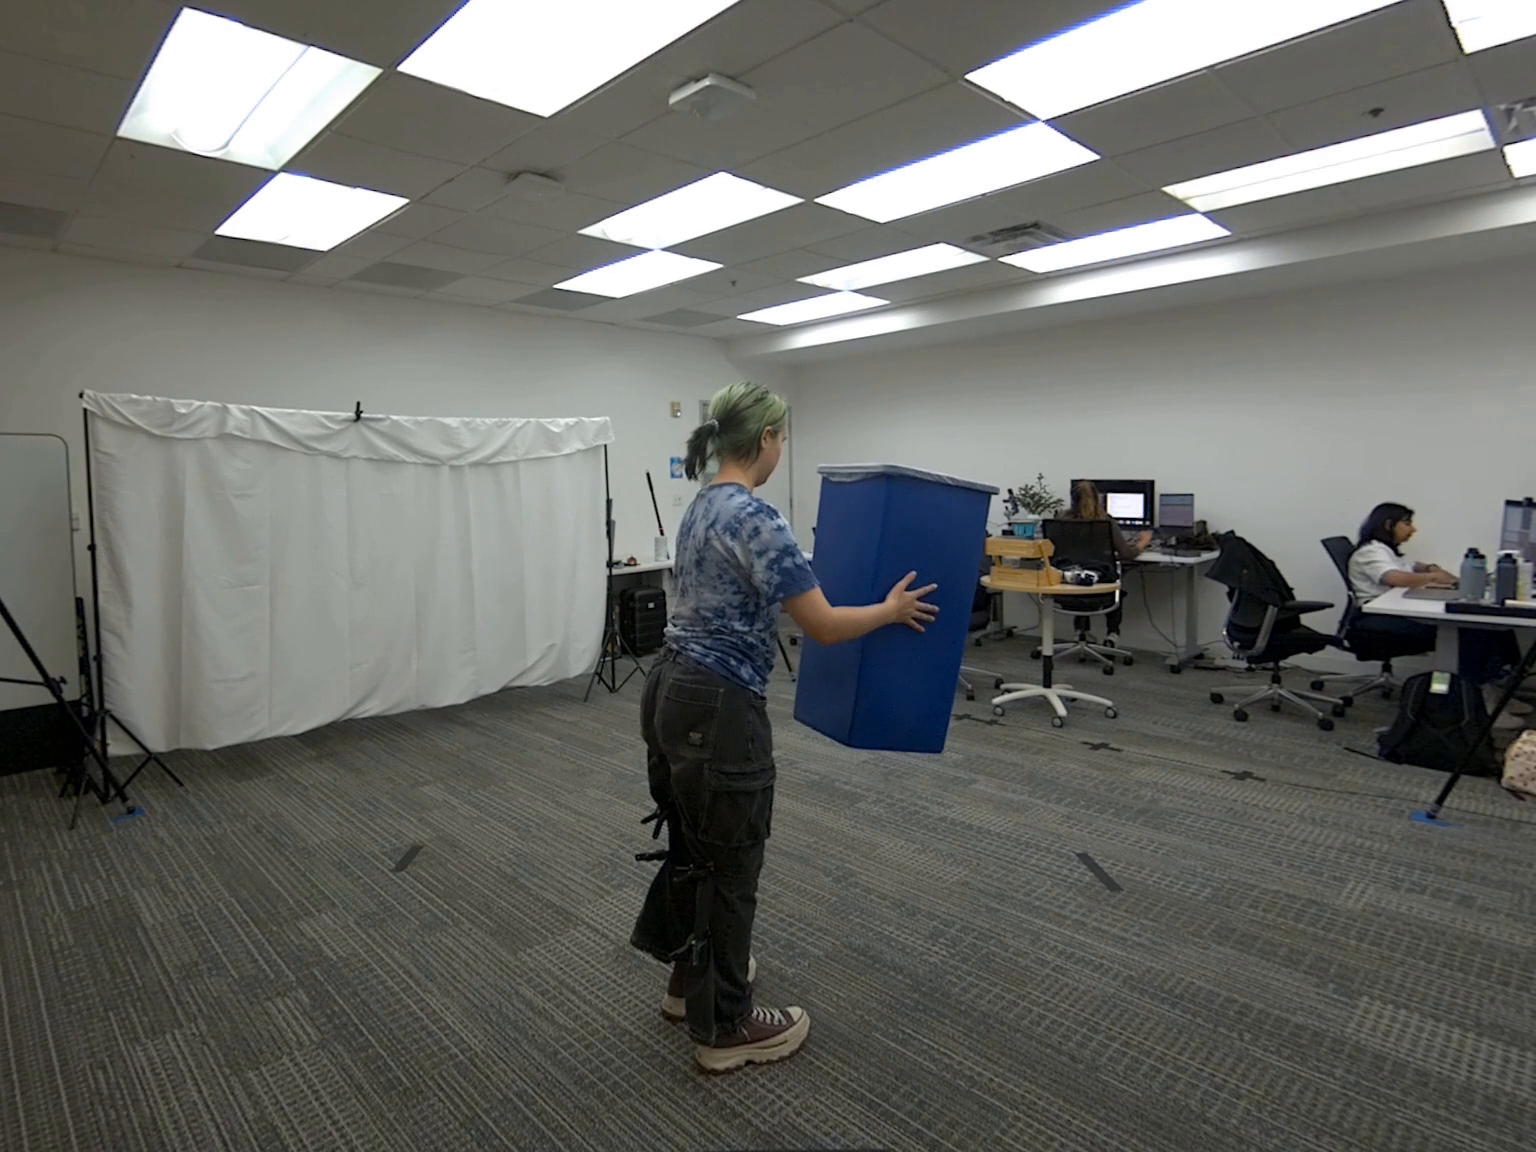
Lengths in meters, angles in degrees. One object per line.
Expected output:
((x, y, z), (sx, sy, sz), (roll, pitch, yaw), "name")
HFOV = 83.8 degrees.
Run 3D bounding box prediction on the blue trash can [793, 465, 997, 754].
((0.323, 0.081, 2.302), (0.364, 0.714, 0.388), (9, -1, -27), "blue trash can")
